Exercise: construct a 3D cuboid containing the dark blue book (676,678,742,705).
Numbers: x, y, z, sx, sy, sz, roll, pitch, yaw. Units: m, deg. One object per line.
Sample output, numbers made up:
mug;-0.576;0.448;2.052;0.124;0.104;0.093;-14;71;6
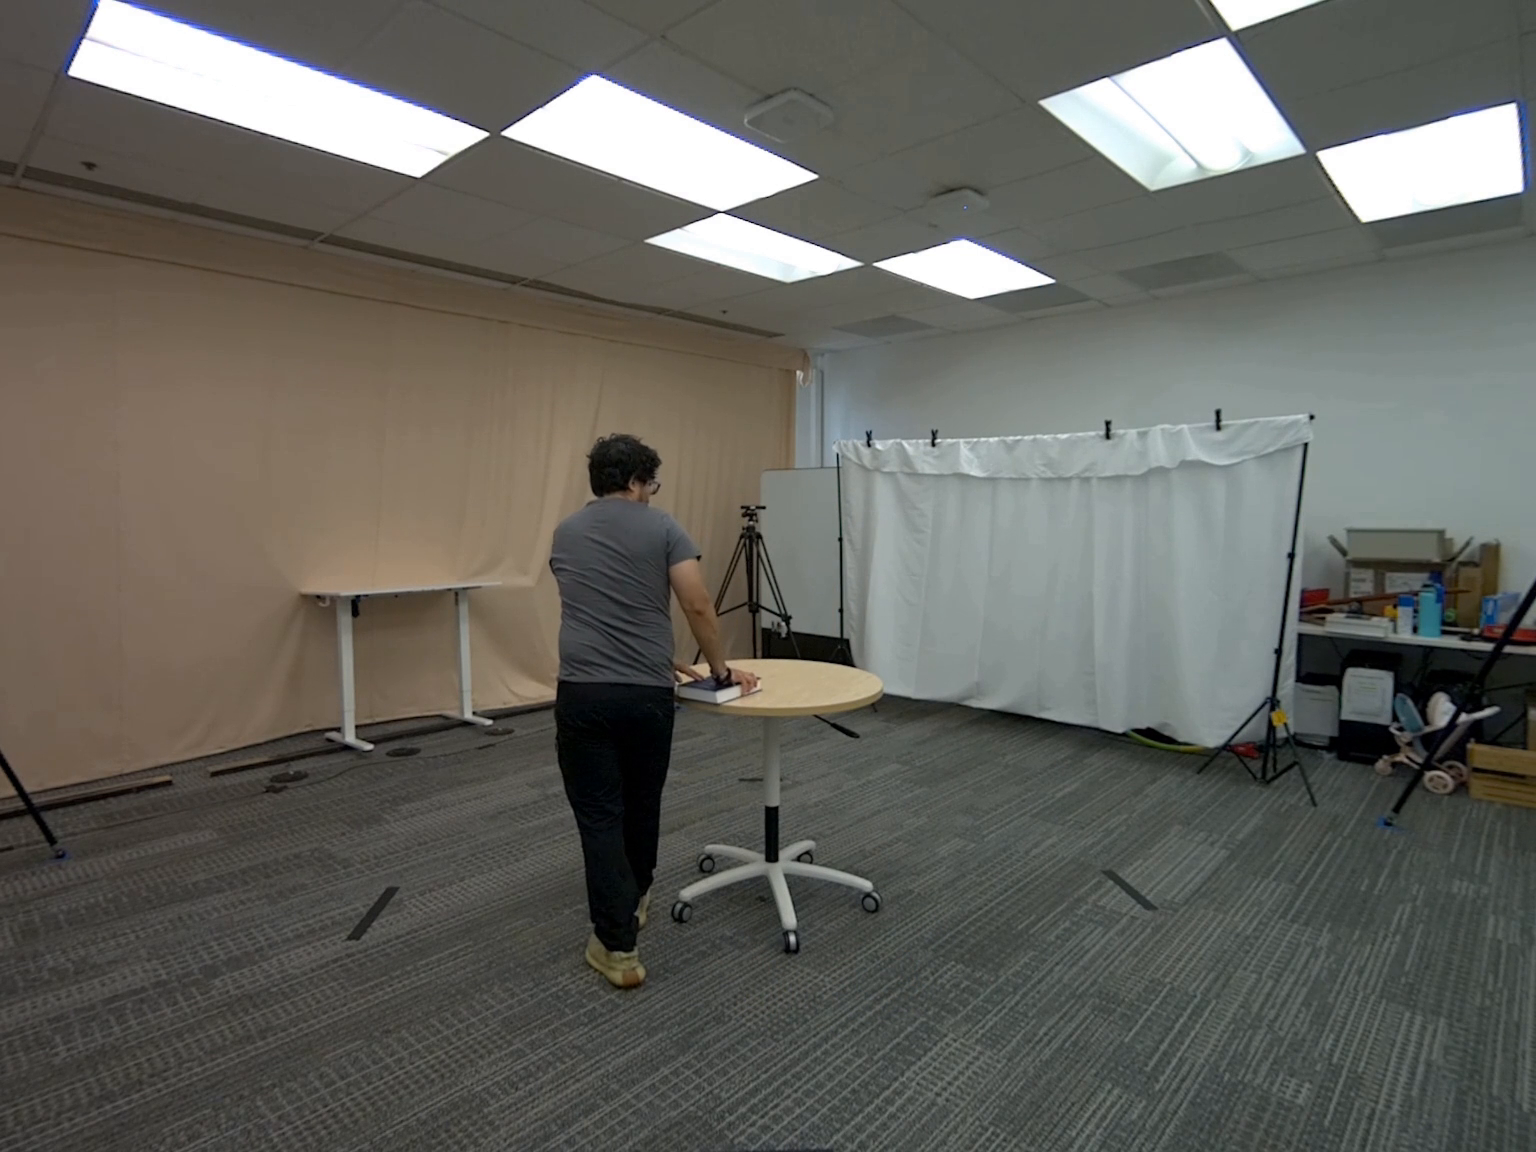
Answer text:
dark blue book;-0.146;0.366;2.736;0.168;0.045;0.239;3;7;29
